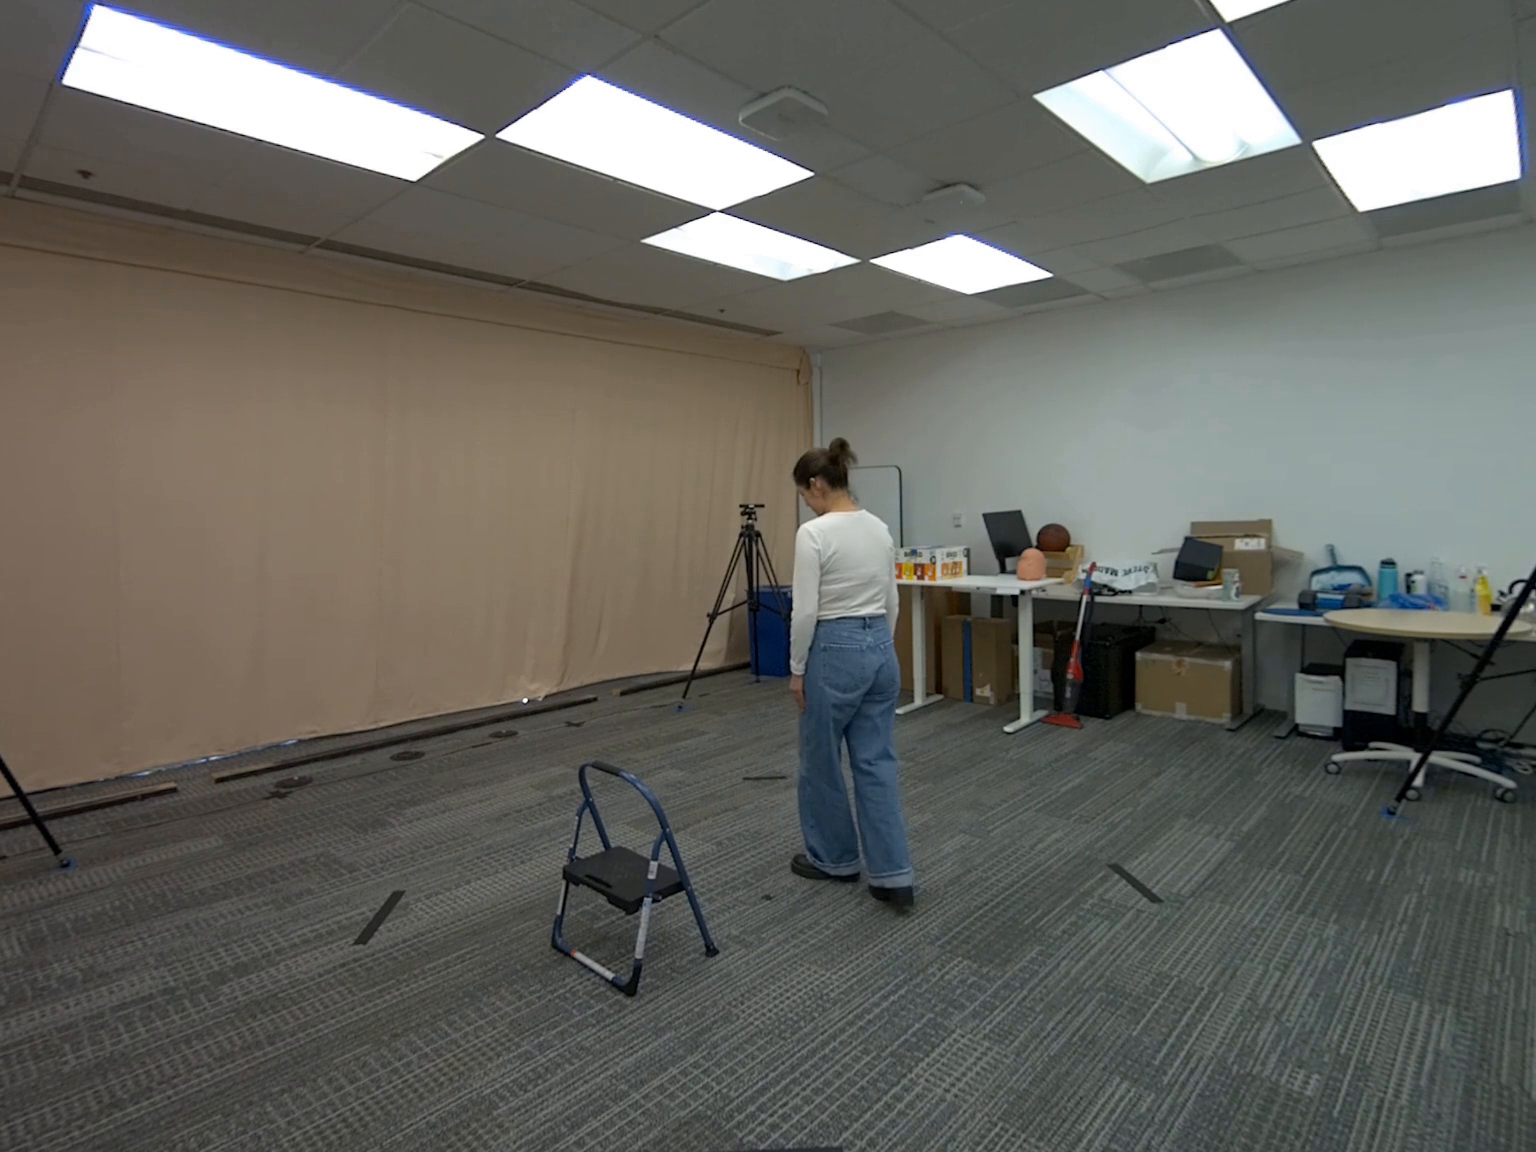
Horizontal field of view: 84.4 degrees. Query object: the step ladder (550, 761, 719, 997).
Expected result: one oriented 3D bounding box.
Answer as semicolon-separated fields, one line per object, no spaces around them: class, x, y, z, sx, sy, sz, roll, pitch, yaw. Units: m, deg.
step ladder;-0.429;0.877;2.636;0.445;0.605;0.339;2;4;43
